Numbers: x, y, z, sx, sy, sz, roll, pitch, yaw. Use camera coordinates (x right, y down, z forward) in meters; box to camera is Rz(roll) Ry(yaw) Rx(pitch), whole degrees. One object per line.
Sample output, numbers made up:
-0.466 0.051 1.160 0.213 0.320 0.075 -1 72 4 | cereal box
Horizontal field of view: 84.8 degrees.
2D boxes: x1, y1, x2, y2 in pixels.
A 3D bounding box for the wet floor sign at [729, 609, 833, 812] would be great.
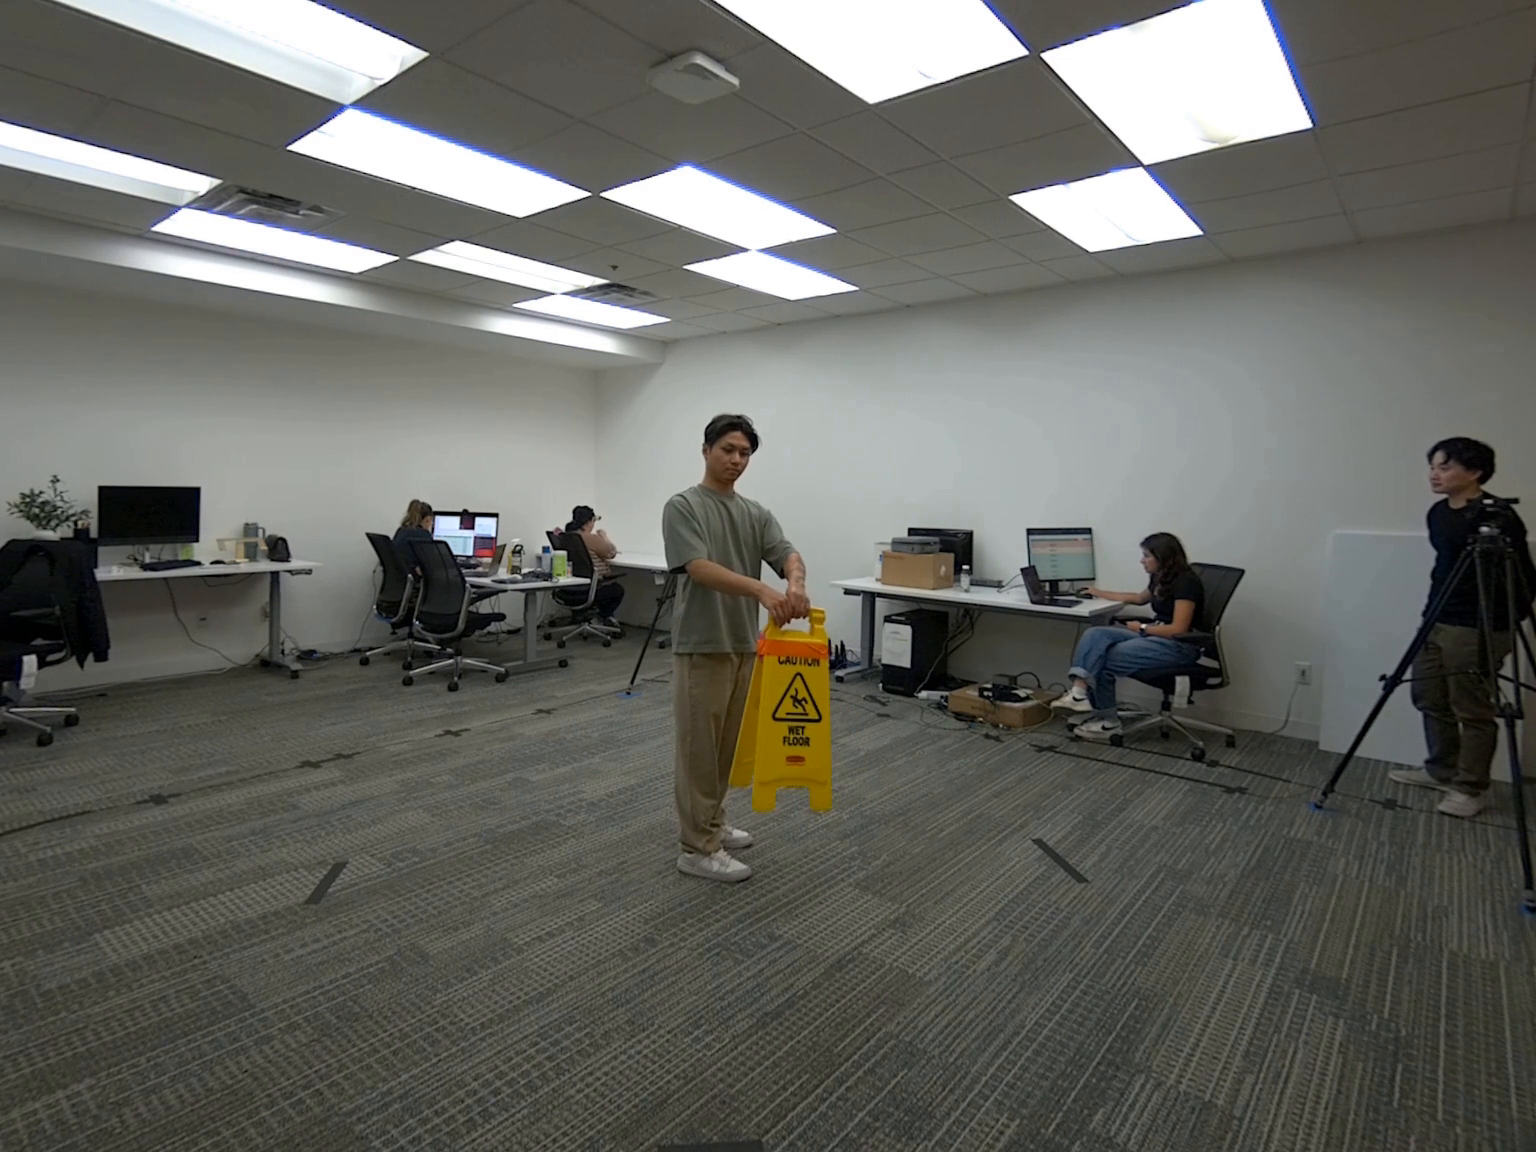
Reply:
0.062 0.427 2.856 0.277 0.645 0.295 4 1 -18 | wet floor sign
